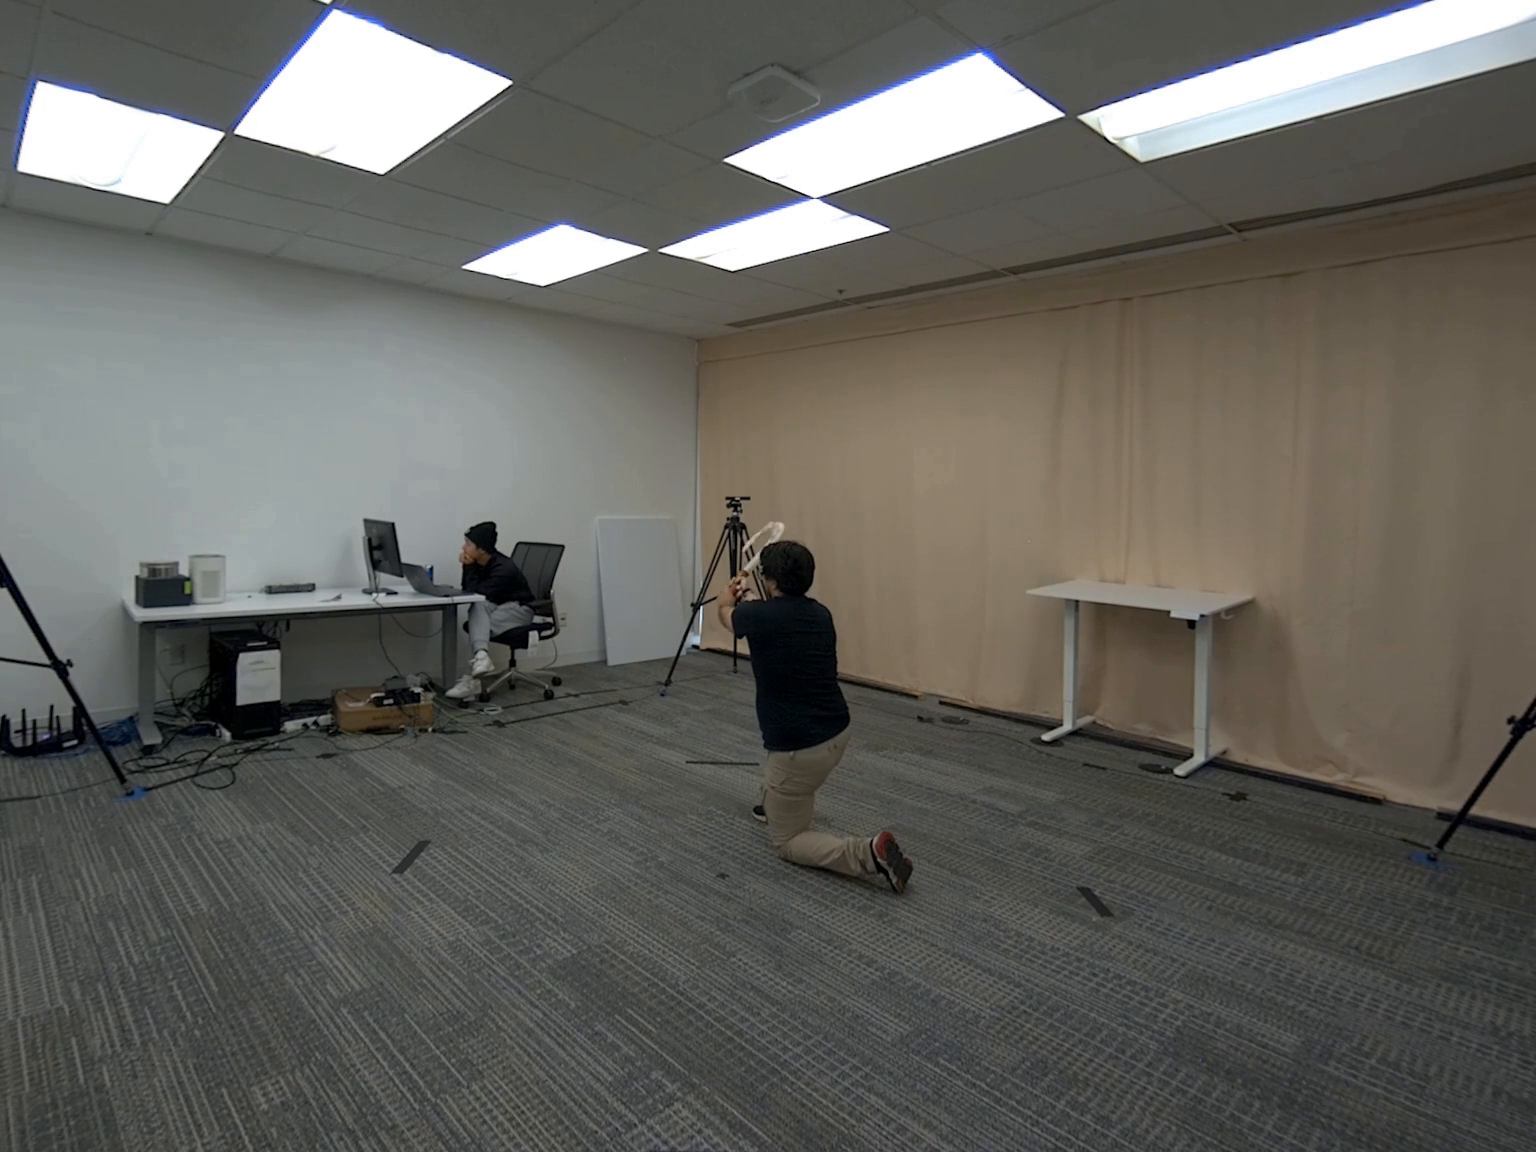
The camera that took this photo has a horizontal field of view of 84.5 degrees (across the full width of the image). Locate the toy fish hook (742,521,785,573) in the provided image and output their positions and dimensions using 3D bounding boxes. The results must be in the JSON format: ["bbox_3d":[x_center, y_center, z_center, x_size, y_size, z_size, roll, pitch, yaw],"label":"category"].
[{"bbox_3d":[-0.104,-0.048,3.921,0.047,0.507,0.229,45,-20,-22],"label":"toy fish hook"}]
